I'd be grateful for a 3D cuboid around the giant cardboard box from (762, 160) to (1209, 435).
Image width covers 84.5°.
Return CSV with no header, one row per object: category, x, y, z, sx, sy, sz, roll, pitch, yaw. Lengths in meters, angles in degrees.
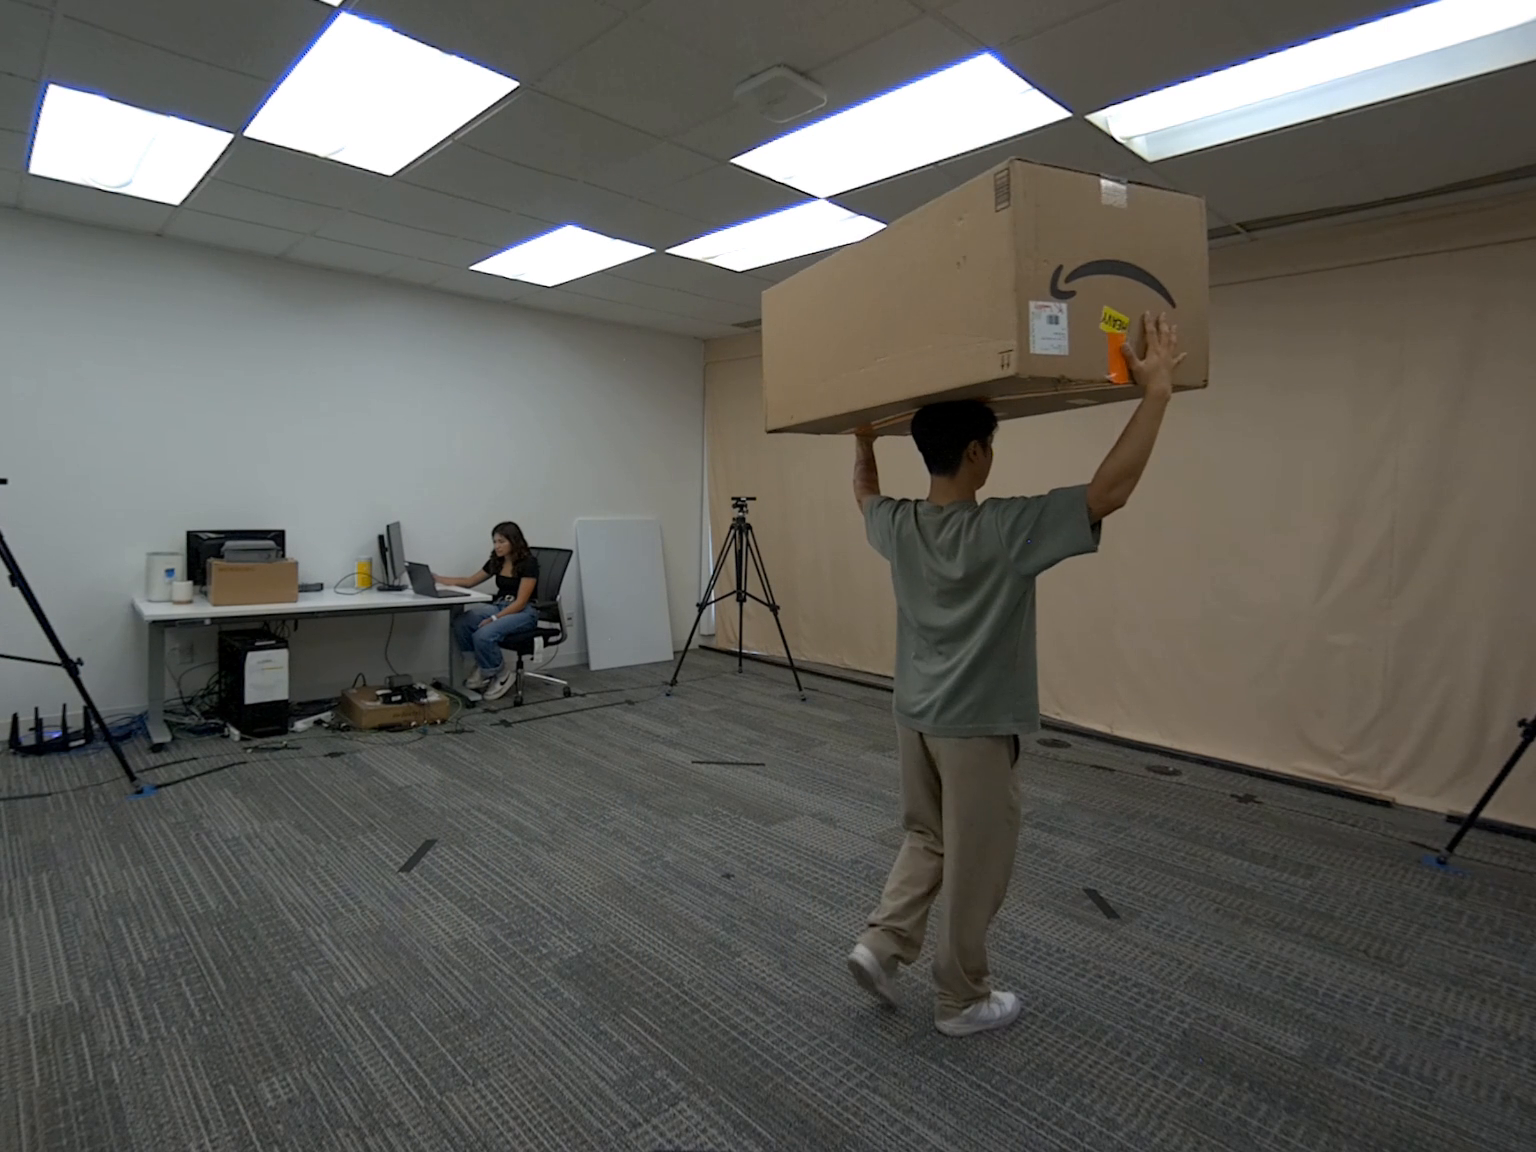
giant cardboard box,0.473,-0.630,2.201,0.567,0.425,1.047,-3,4,-28
